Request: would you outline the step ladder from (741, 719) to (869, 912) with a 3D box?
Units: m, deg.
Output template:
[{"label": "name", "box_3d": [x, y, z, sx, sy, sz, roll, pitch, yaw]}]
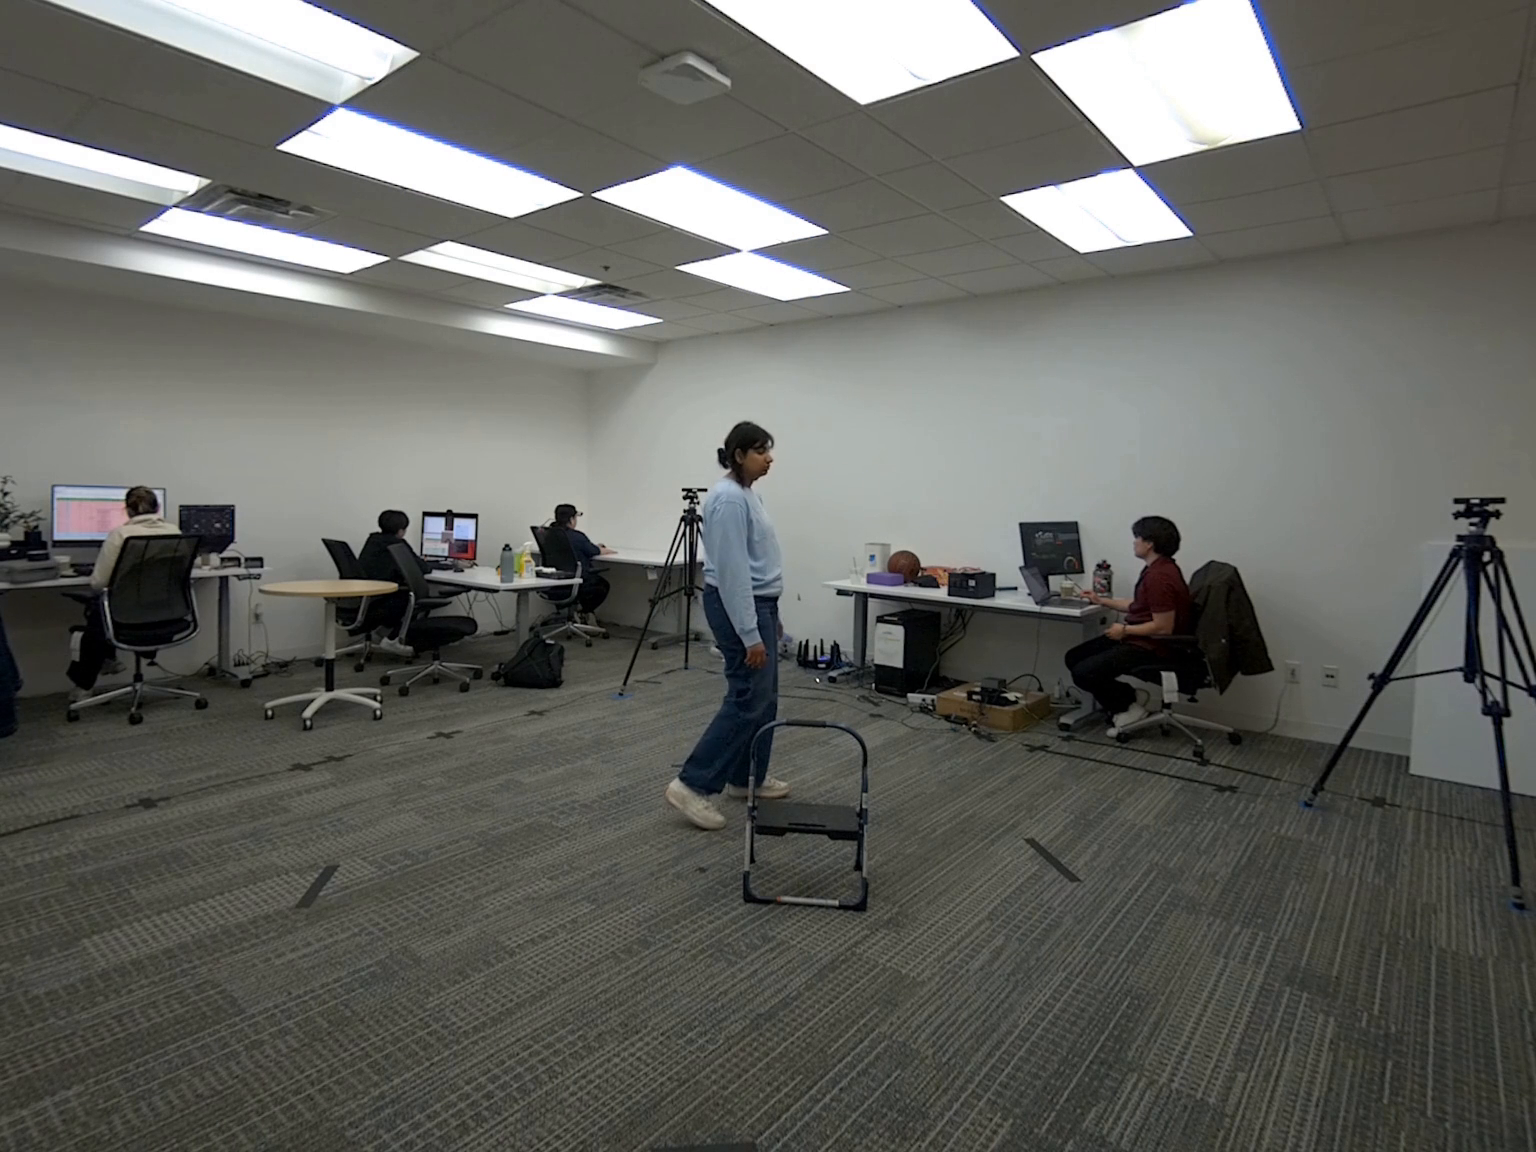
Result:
[{"label": "step ladder", "box_3d": [0.133, 0.785, 2.992, 0.433, 0.604, 0.348, 2, 3, 4]}]
